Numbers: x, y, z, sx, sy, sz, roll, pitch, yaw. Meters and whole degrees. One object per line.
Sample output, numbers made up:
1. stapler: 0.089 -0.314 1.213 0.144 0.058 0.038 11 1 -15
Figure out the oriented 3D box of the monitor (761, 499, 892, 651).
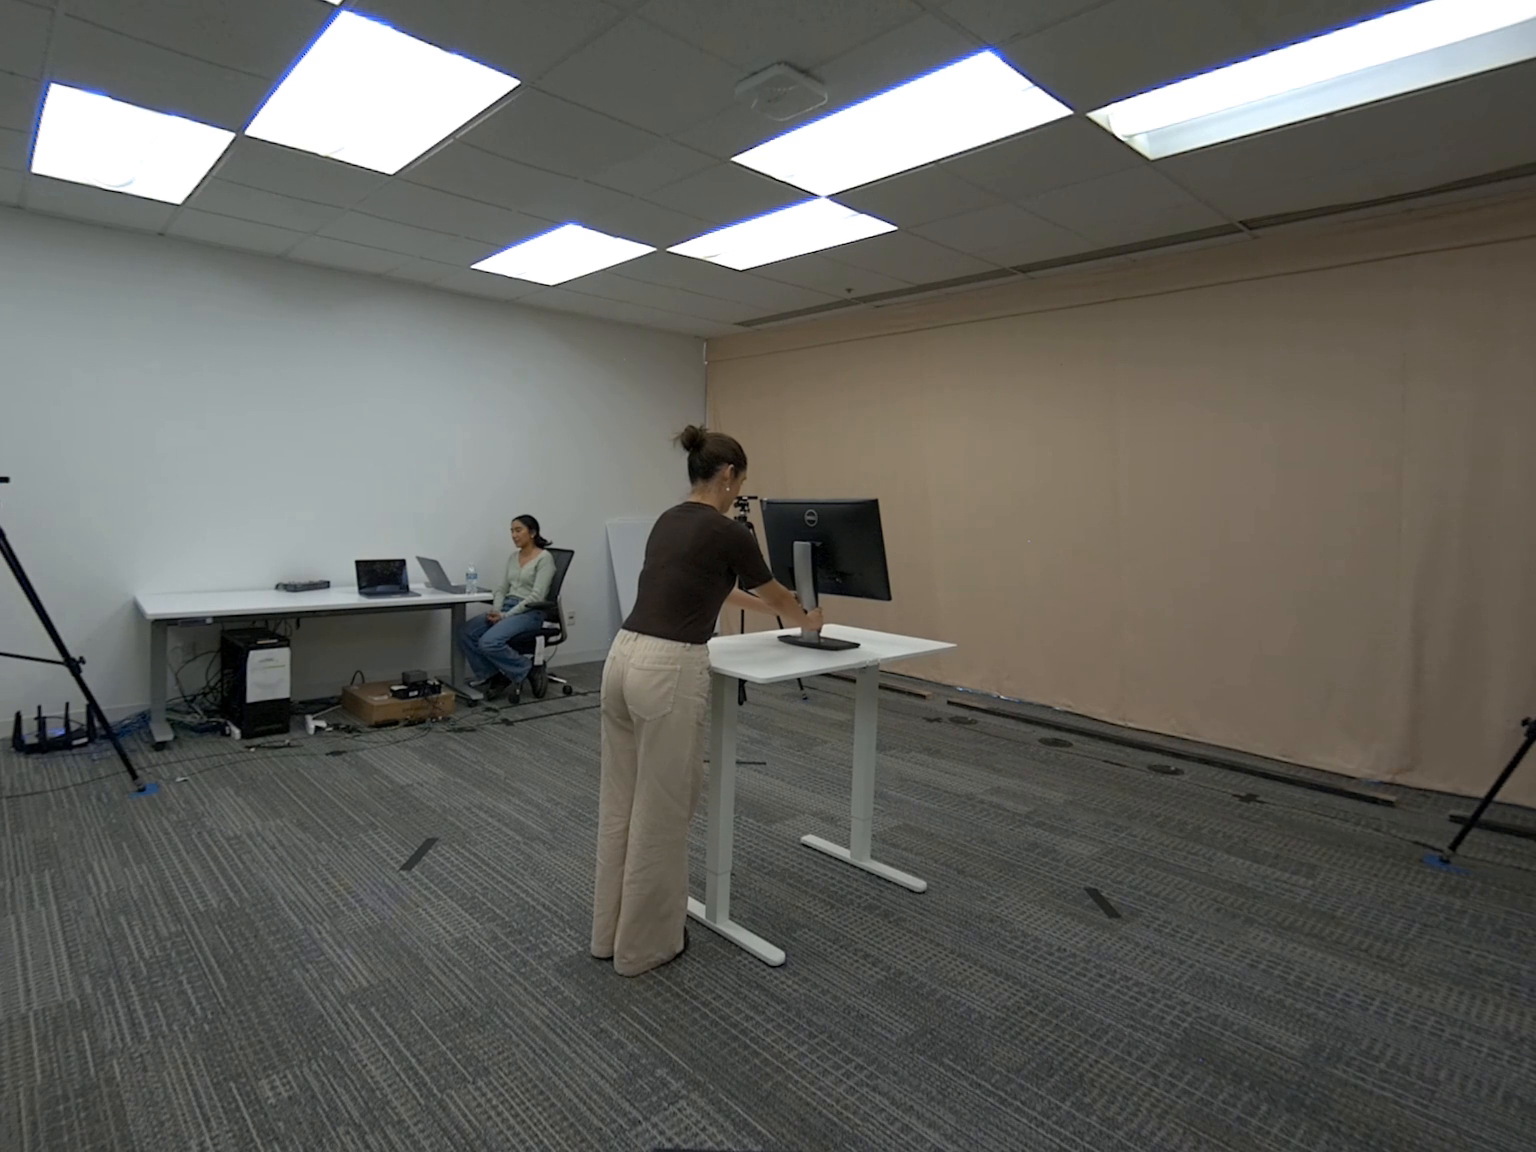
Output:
1. monitor: 0.171 -0.013 2.953 0.543 0.516 0.170 3 1 44
